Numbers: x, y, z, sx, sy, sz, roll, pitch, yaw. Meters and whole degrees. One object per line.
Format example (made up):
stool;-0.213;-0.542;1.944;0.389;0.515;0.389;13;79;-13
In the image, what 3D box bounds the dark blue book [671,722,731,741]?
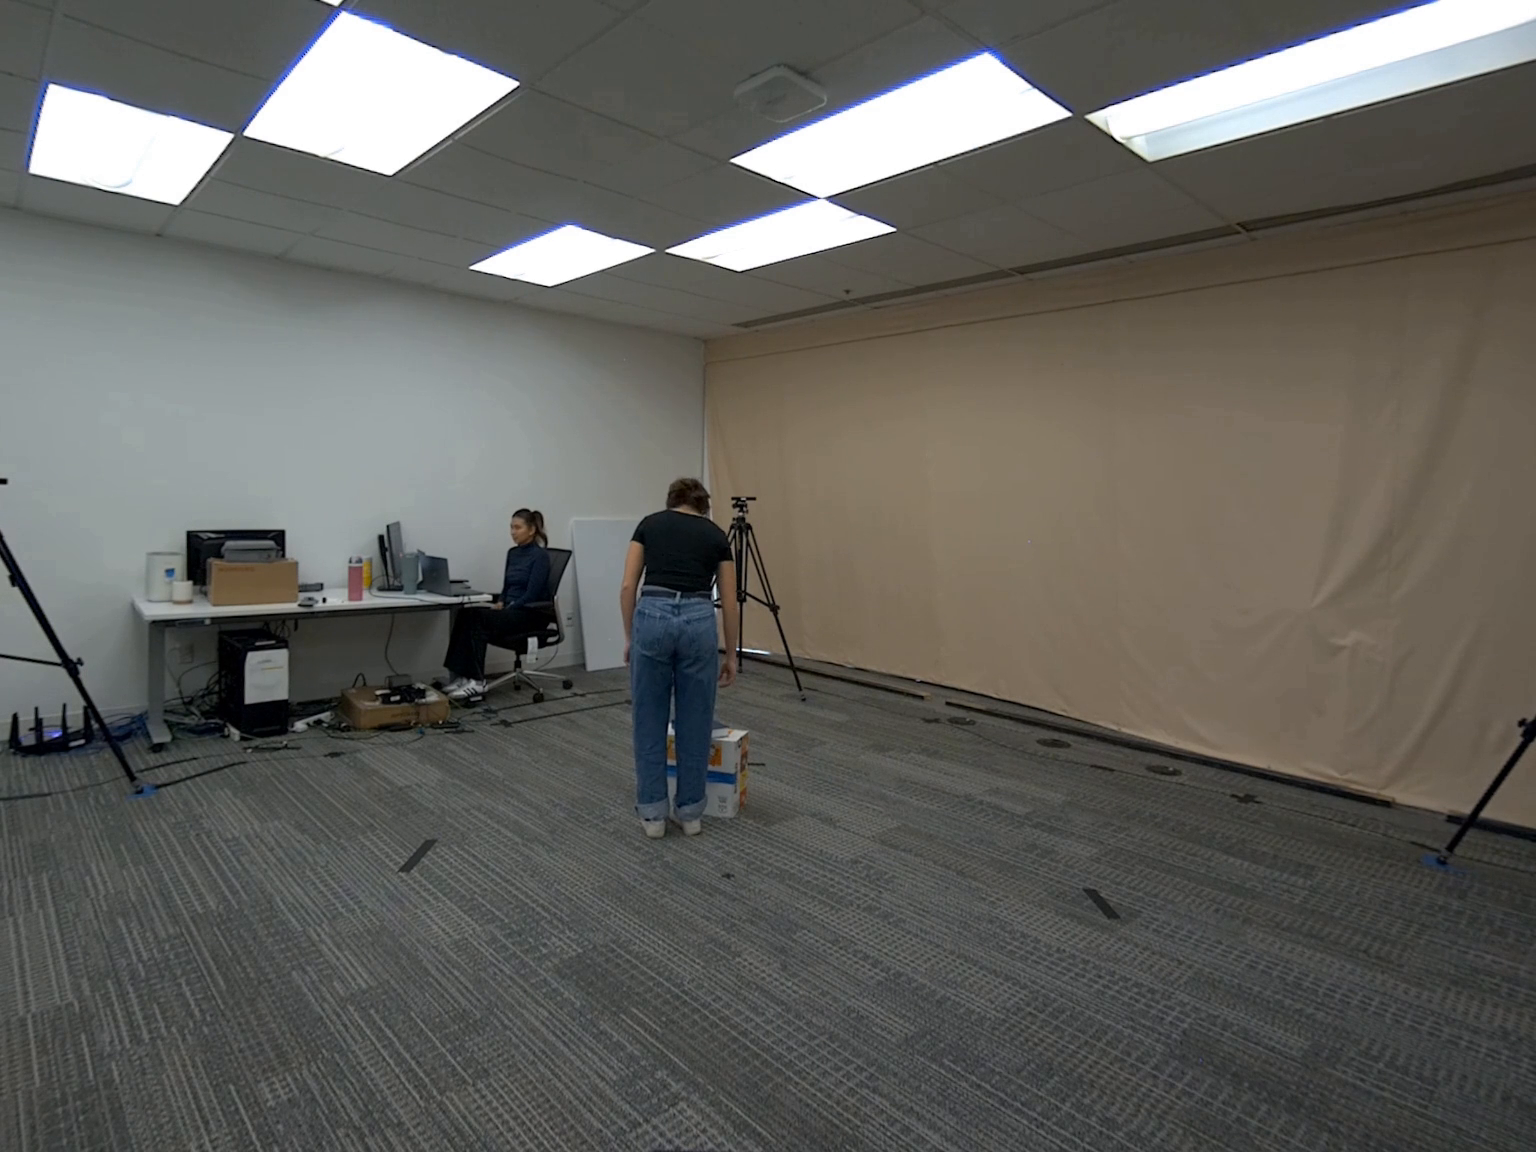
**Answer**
dark blue book;-0.306;0.684;3.797;0.160;0.045;0.251;-1;4;-34
